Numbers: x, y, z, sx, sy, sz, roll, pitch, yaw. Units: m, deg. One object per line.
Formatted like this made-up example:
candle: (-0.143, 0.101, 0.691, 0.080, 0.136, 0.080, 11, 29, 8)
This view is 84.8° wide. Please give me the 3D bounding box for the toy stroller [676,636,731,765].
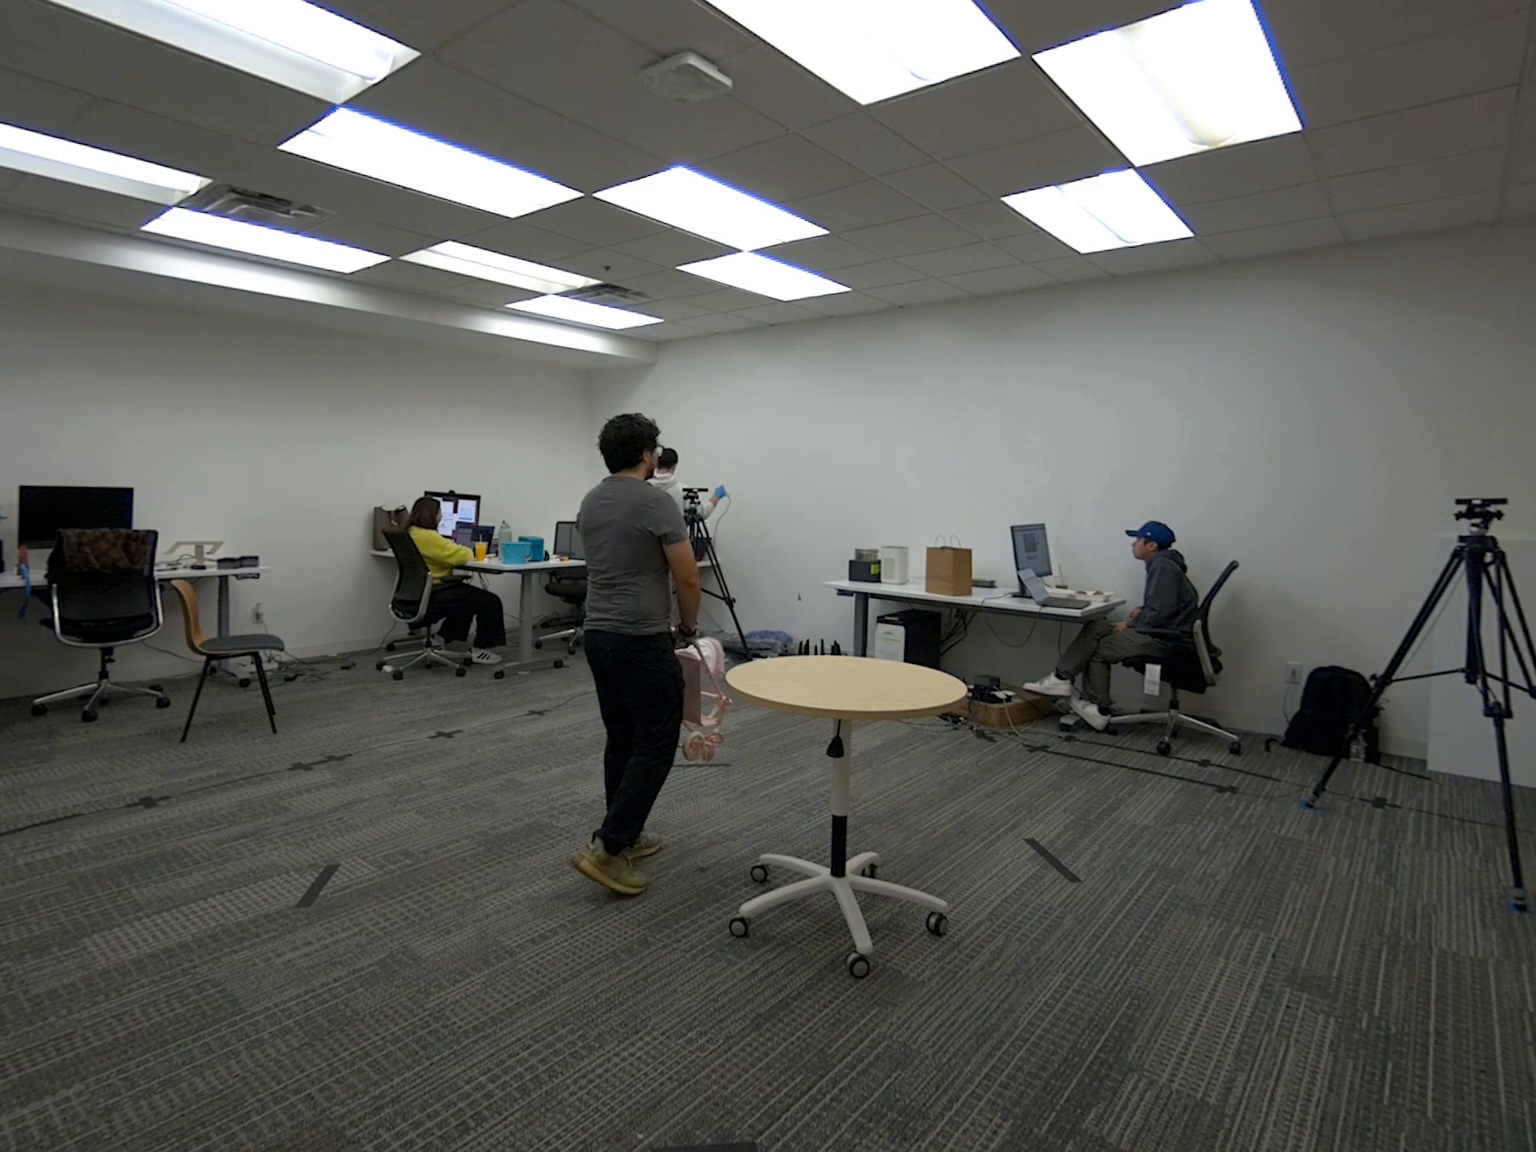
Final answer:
toy stroller: (-0.309, 0.480, 3.368, 0.291, 0.535, 0.329, 6, 0, 43)
